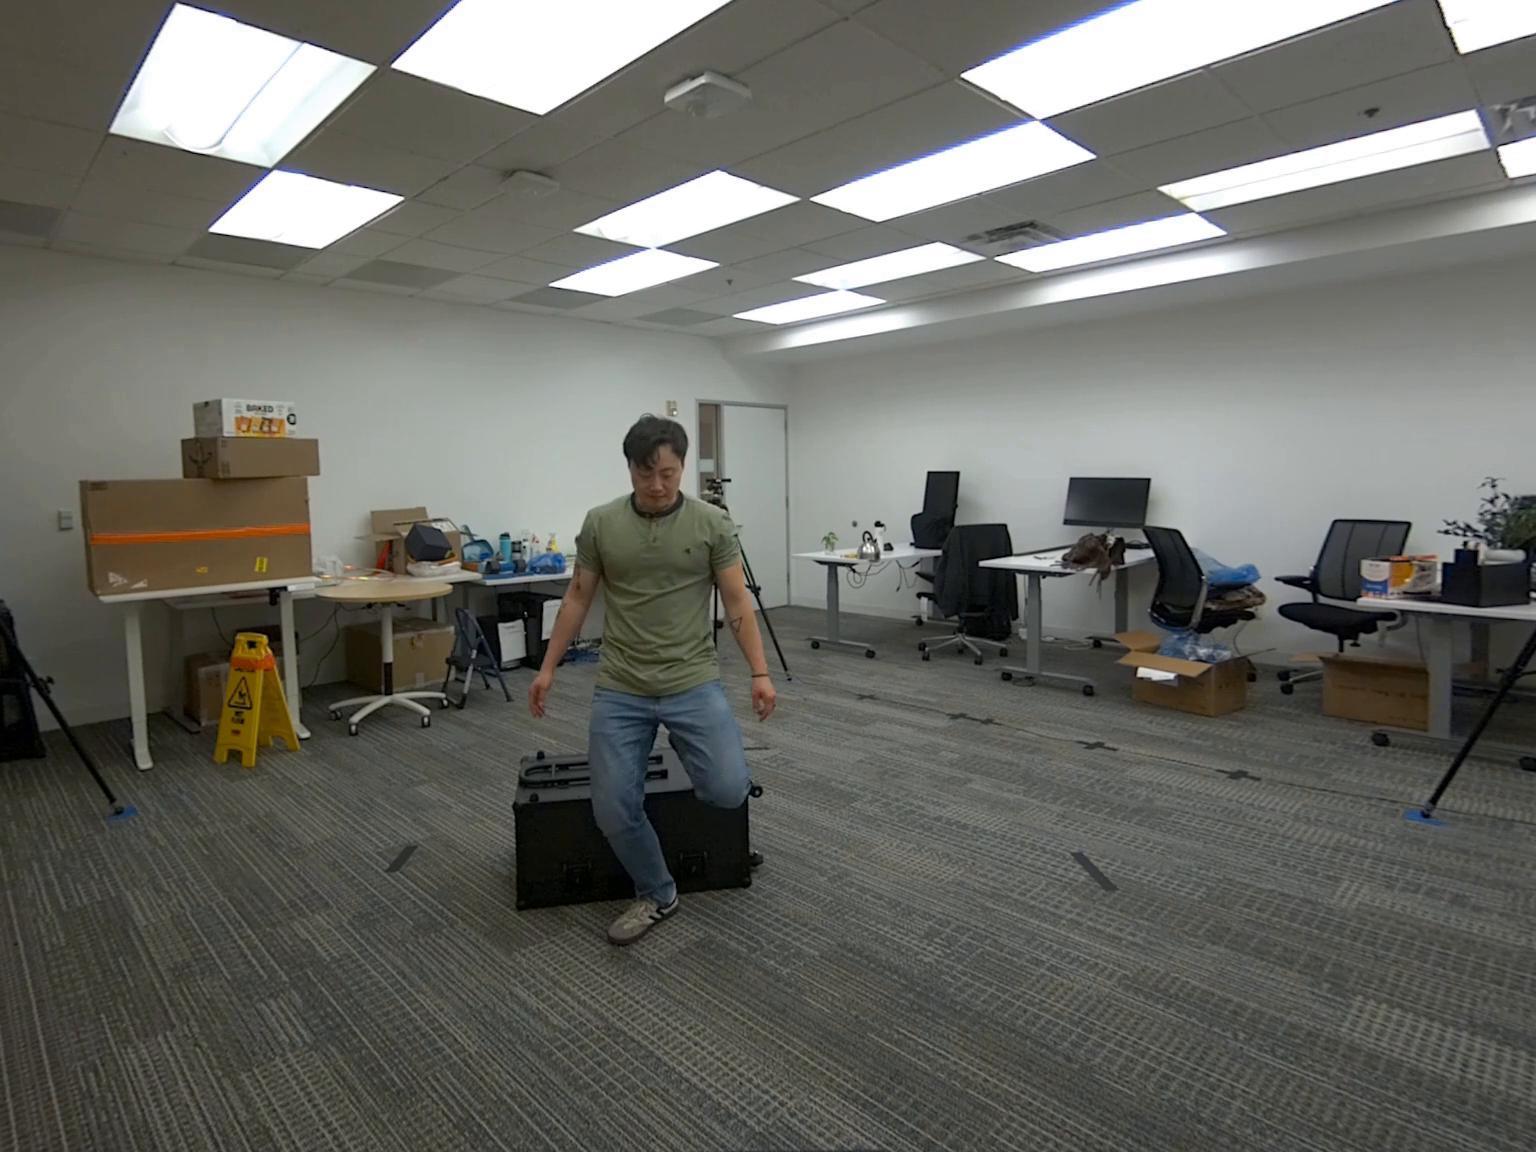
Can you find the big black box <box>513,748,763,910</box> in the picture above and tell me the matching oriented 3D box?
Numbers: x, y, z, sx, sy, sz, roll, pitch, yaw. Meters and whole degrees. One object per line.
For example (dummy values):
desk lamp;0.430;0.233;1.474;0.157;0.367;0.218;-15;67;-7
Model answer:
big black box;-0.464;0.863;3.088;0.852;0.395;0.529;-1;5;-11
